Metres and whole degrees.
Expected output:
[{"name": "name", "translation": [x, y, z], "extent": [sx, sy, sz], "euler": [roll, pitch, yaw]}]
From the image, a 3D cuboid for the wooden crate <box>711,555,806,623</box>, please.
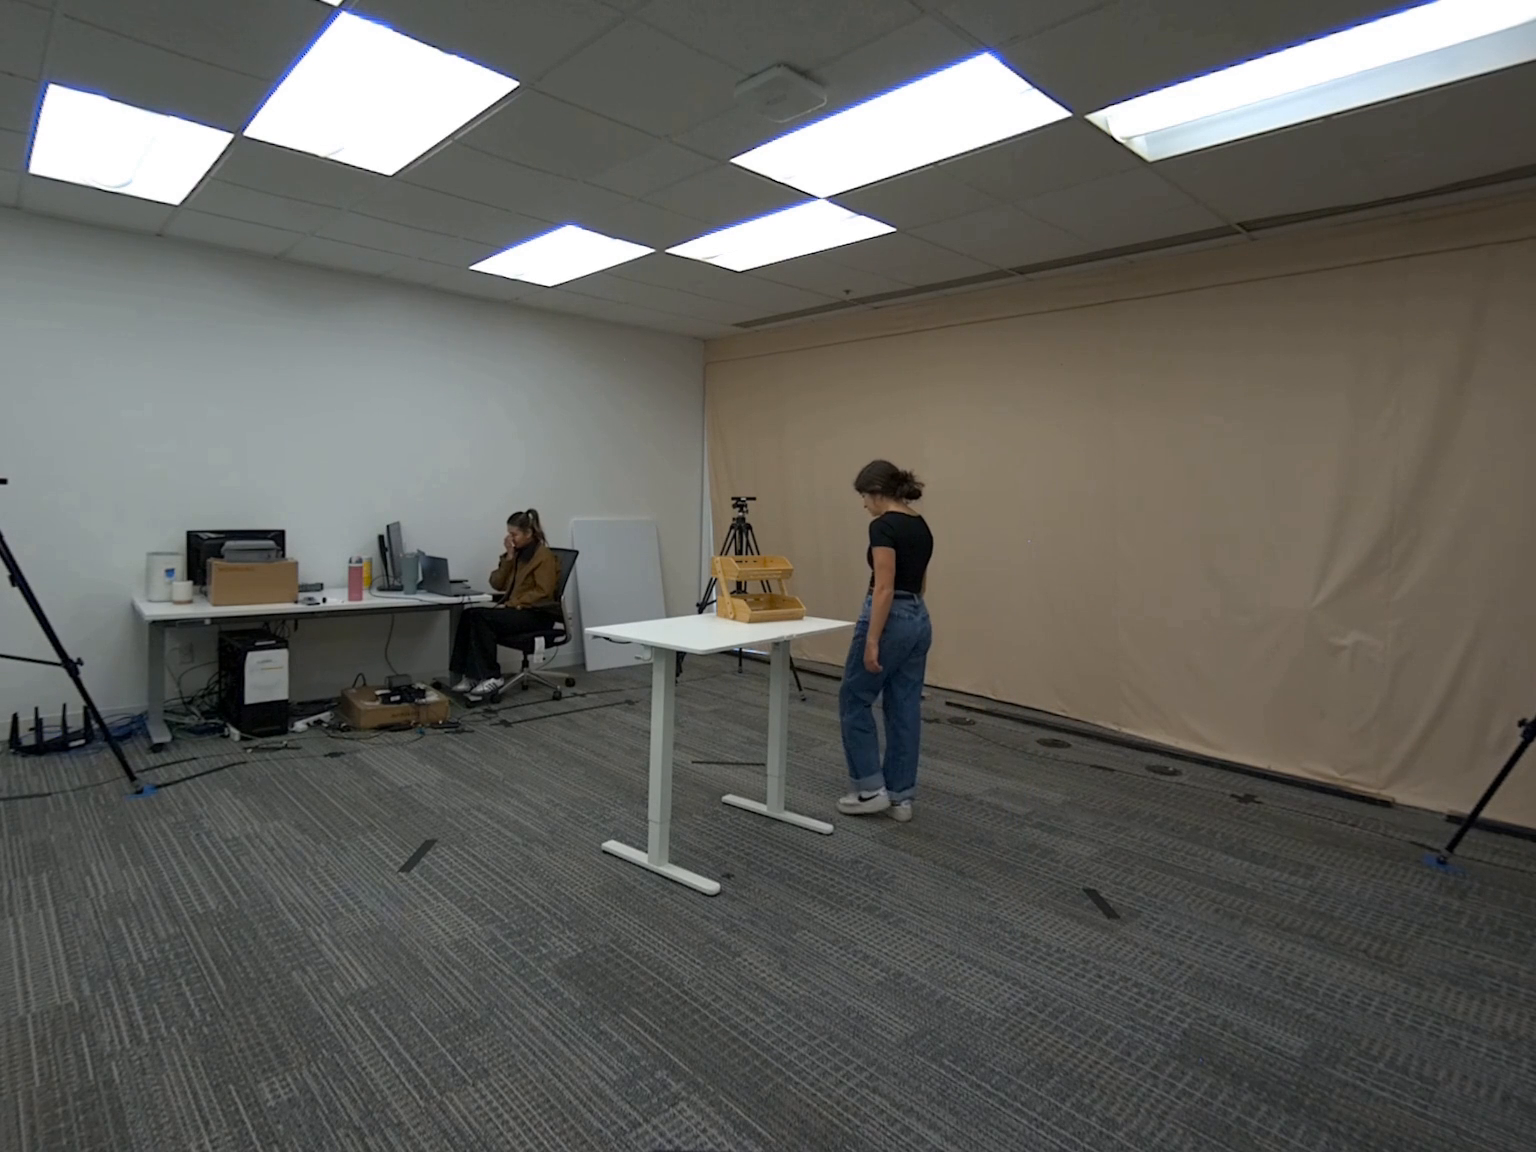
[{"name": "wooden crate", "translation": [-0.053, 0.048, 3.654], "extent": [0.317, 0.273, 0.309], "euler": [-1, 4, -37]}]
